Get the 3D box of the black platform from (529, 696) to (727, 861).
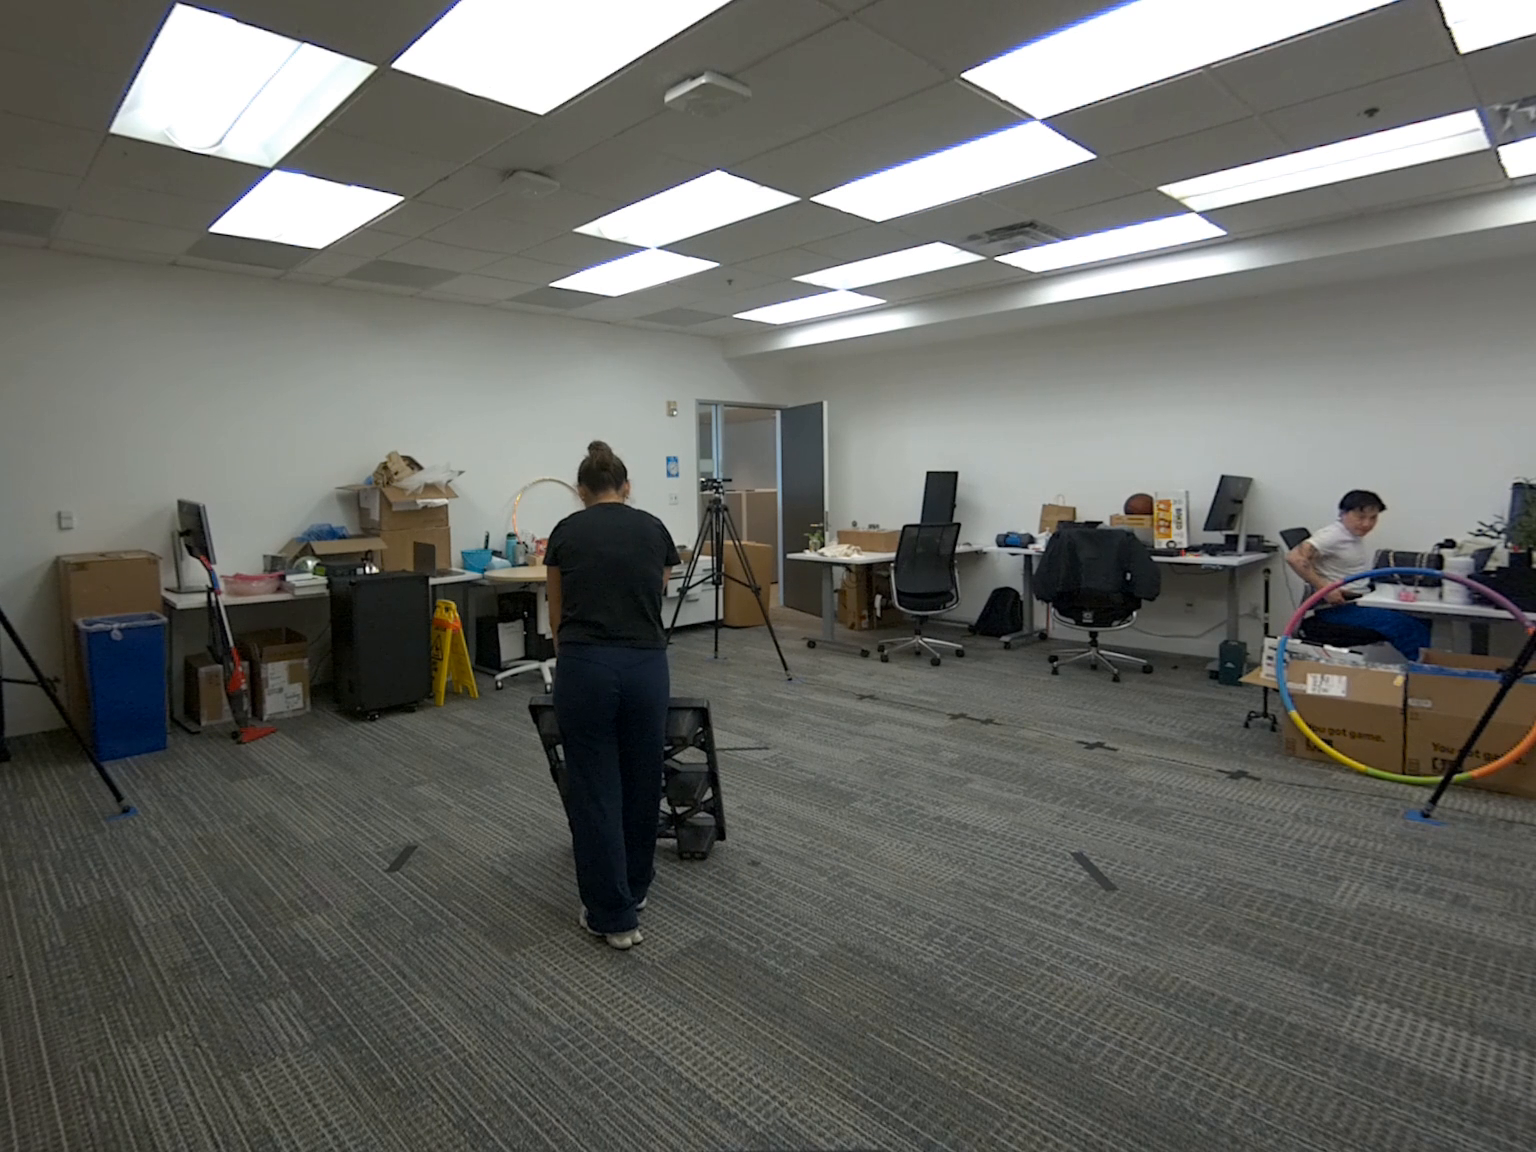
[{"bbox_3d":[-0.472,0.732,3.001,0.608,0.782,0.147,0,39,5],"label":"black platform"}]
